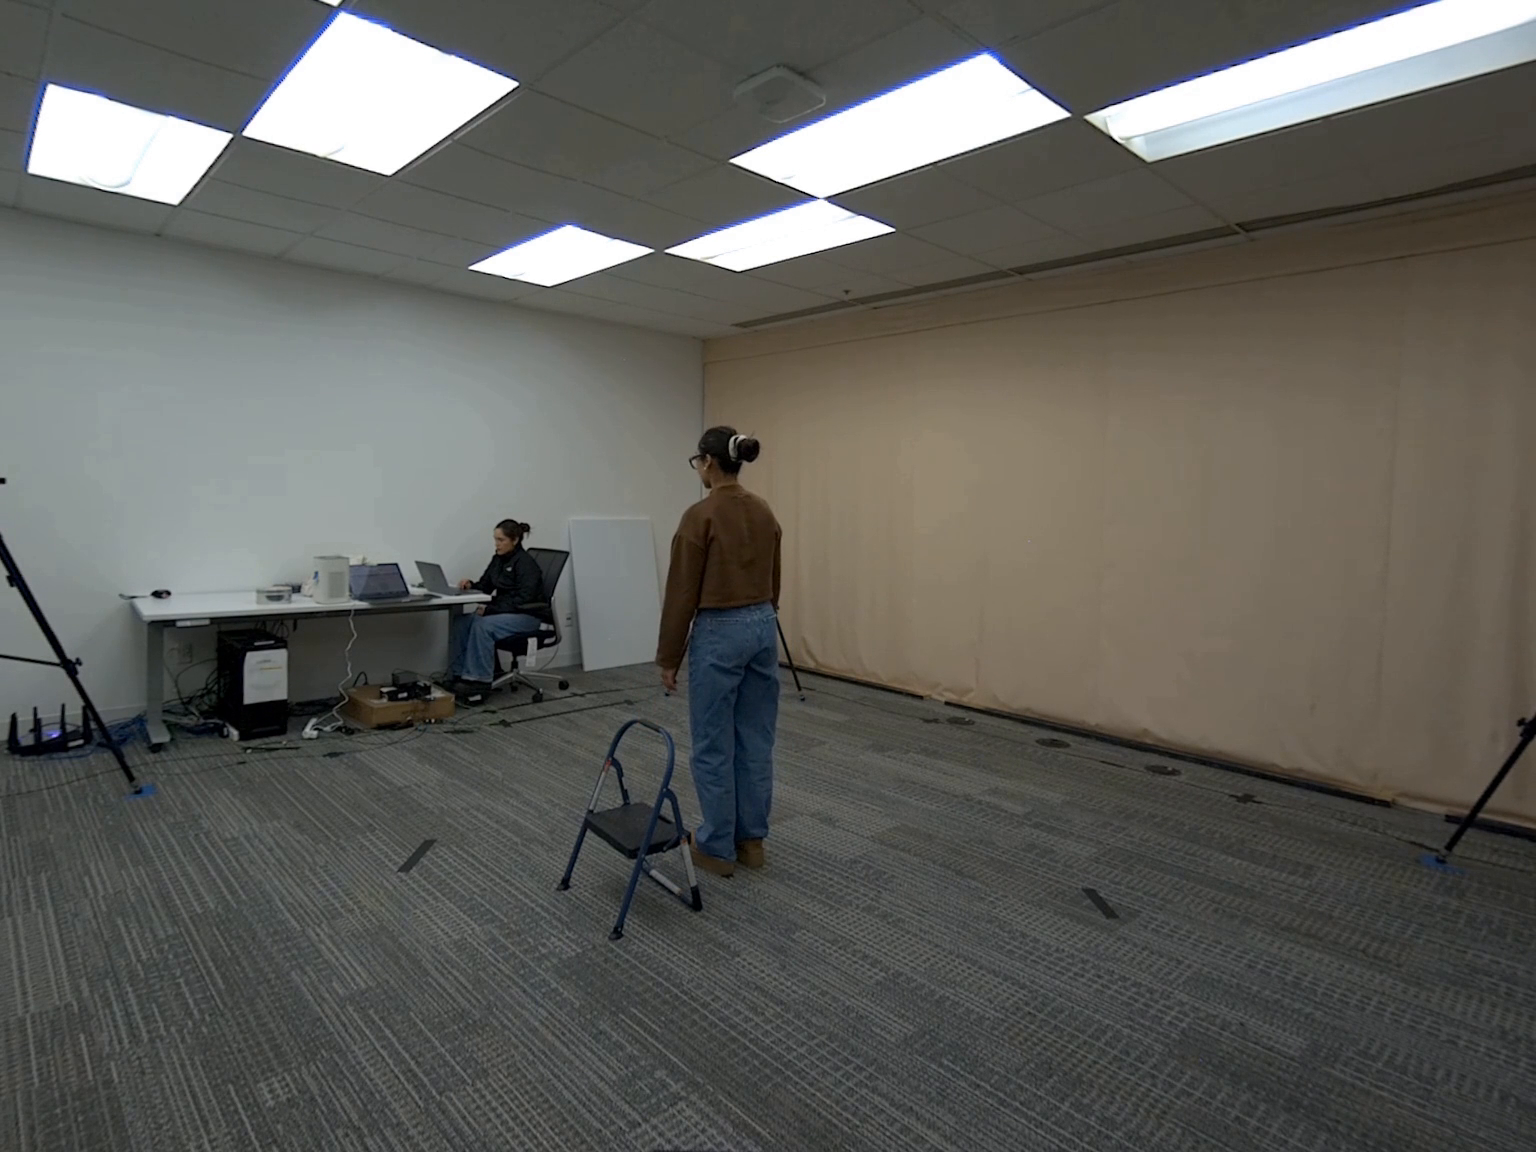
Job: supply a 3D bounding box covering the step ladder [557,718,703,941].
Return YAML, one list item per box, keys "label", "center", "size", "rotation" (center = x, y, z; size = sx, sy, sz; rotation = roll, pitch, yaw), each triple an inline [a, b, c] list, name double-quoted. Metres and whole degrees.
- label: "step ladder"
  center: [-0.476, 0.816, 2.884]
  size: [0.341, 0.605, 0.441]
  rotation: [0, 4, -37]
